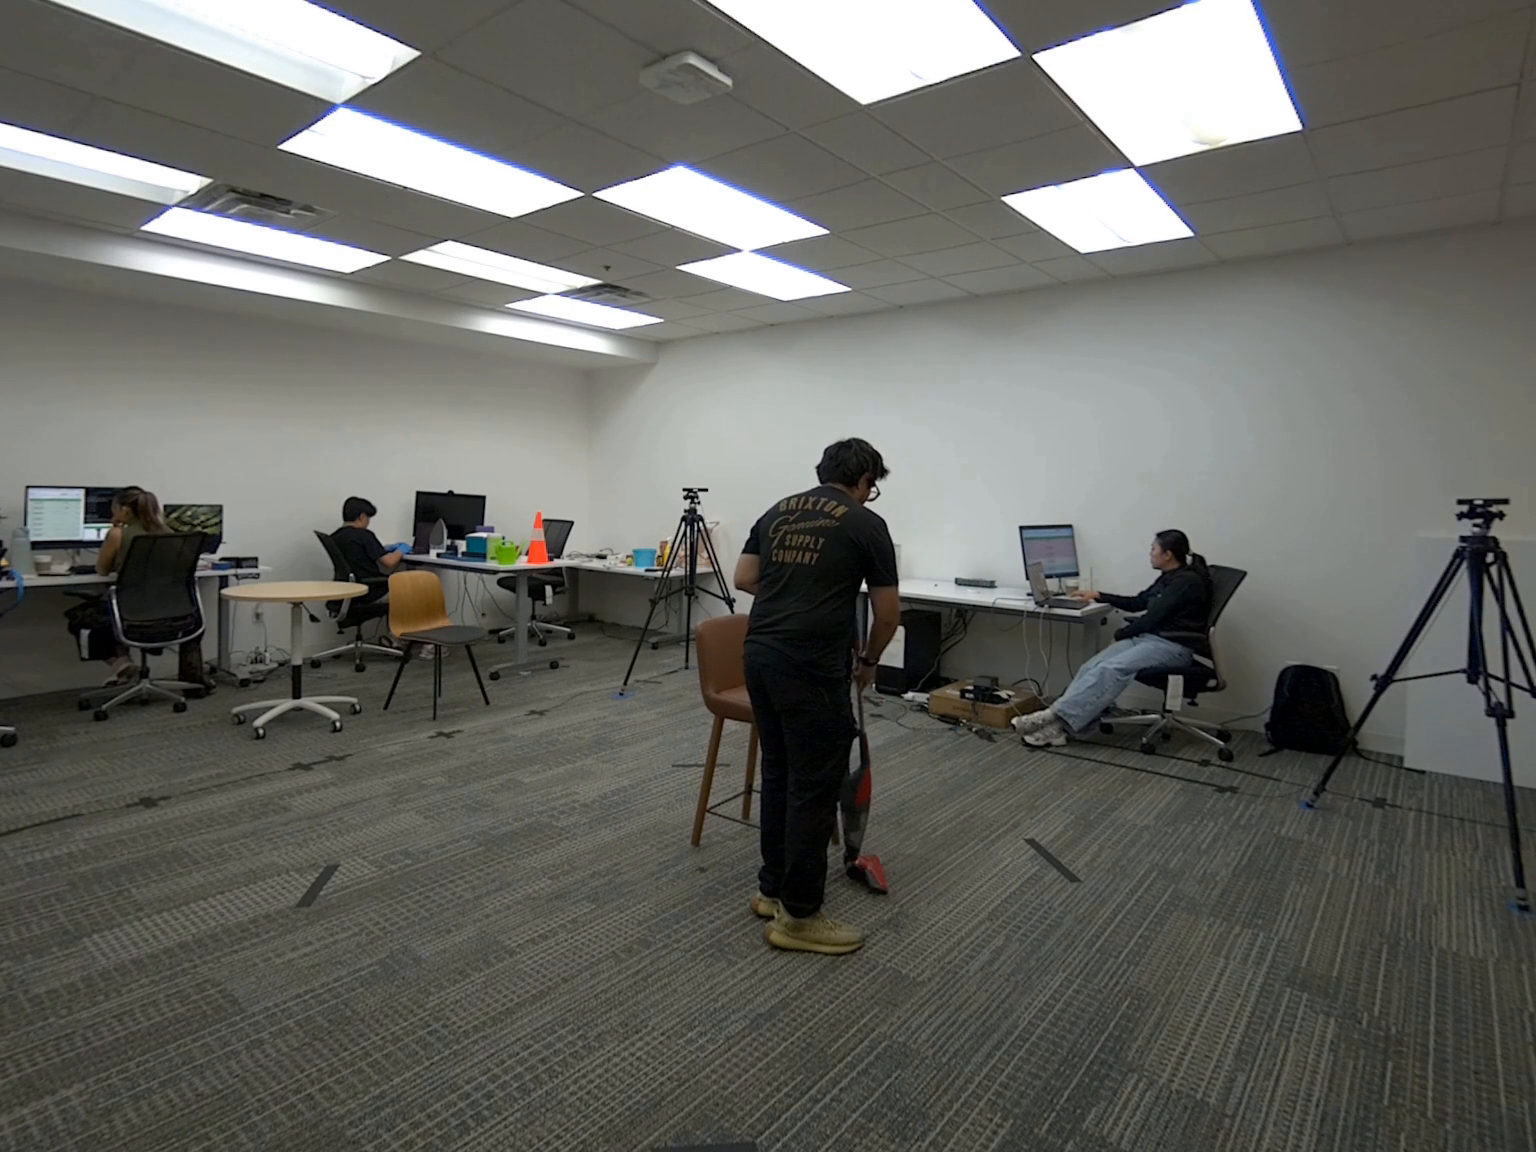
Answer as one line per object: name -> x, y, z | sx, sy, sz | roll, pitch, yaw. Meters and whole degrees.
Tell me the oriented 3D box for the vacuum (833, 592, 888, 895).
vacuum -> 0.297, 0.569, 3.028 | 0.145, 1.045, 0.252 | -5, 4, 5
